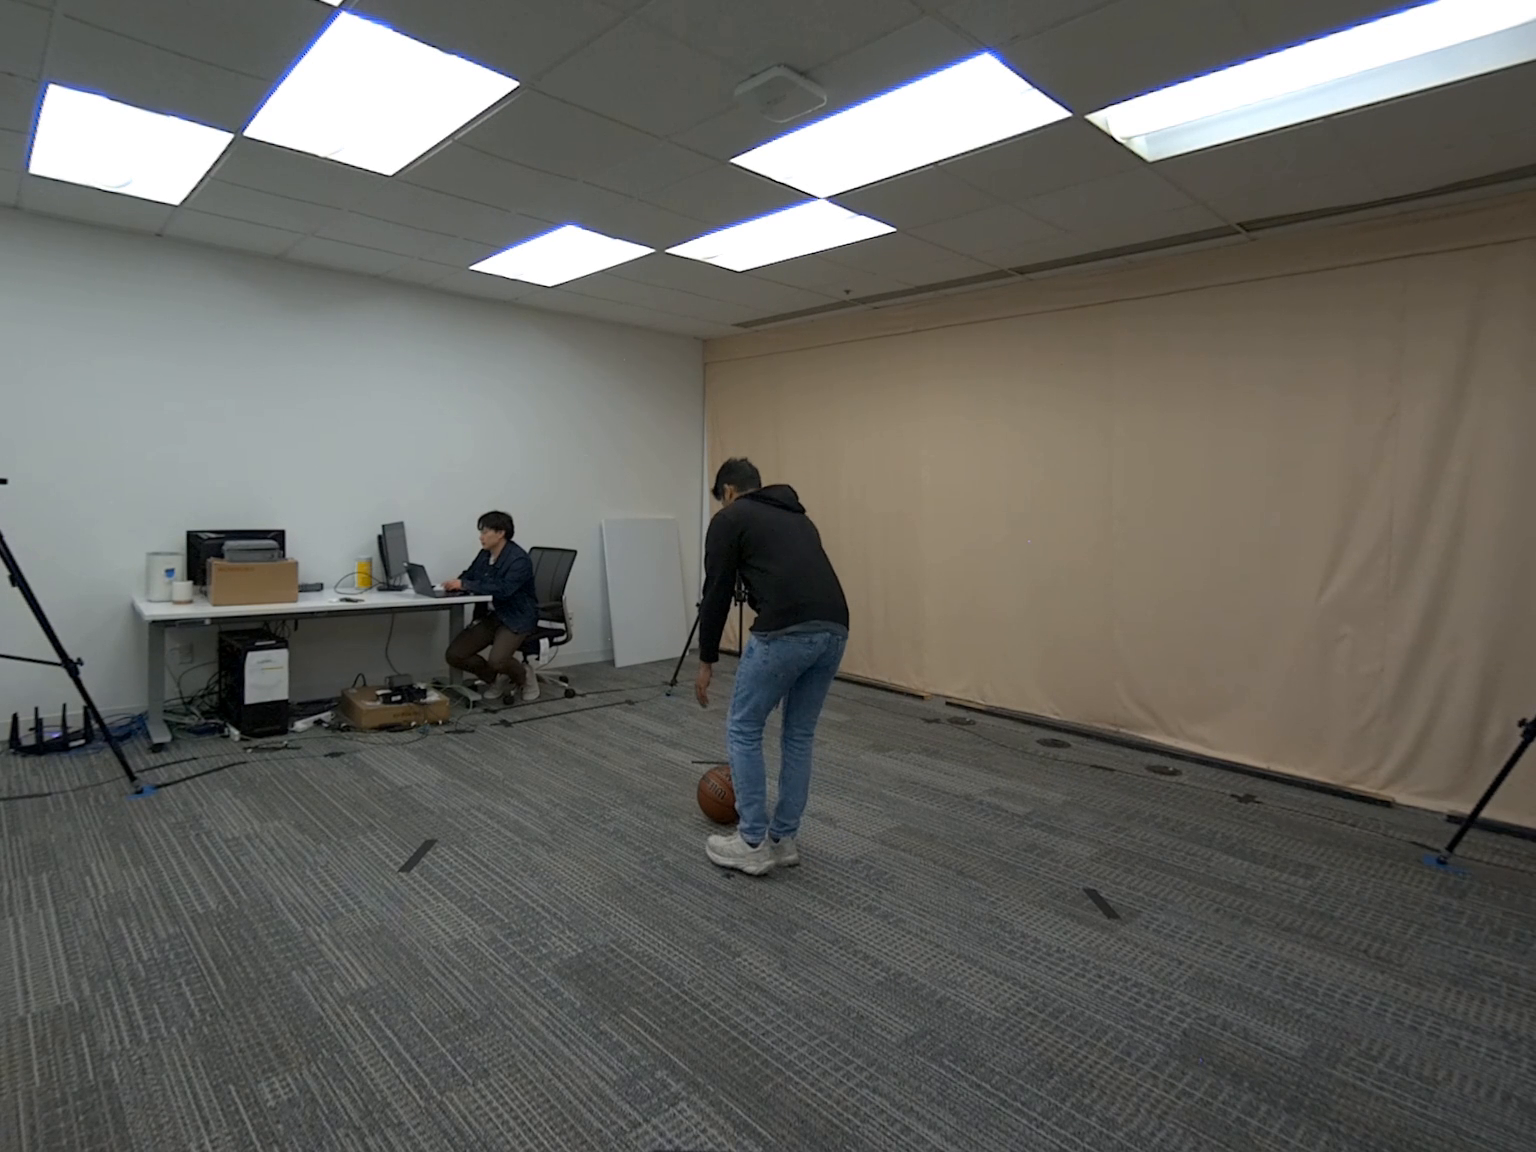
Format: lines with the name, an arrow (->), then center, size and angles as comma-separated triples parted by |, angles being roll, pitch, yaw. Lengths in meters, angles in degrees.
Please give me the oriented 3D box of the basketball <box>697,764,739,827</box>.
basketball -> -0.198, 0.938, 3.638 | 0.236, 0.235, 0.237 | 1, 4, -1
